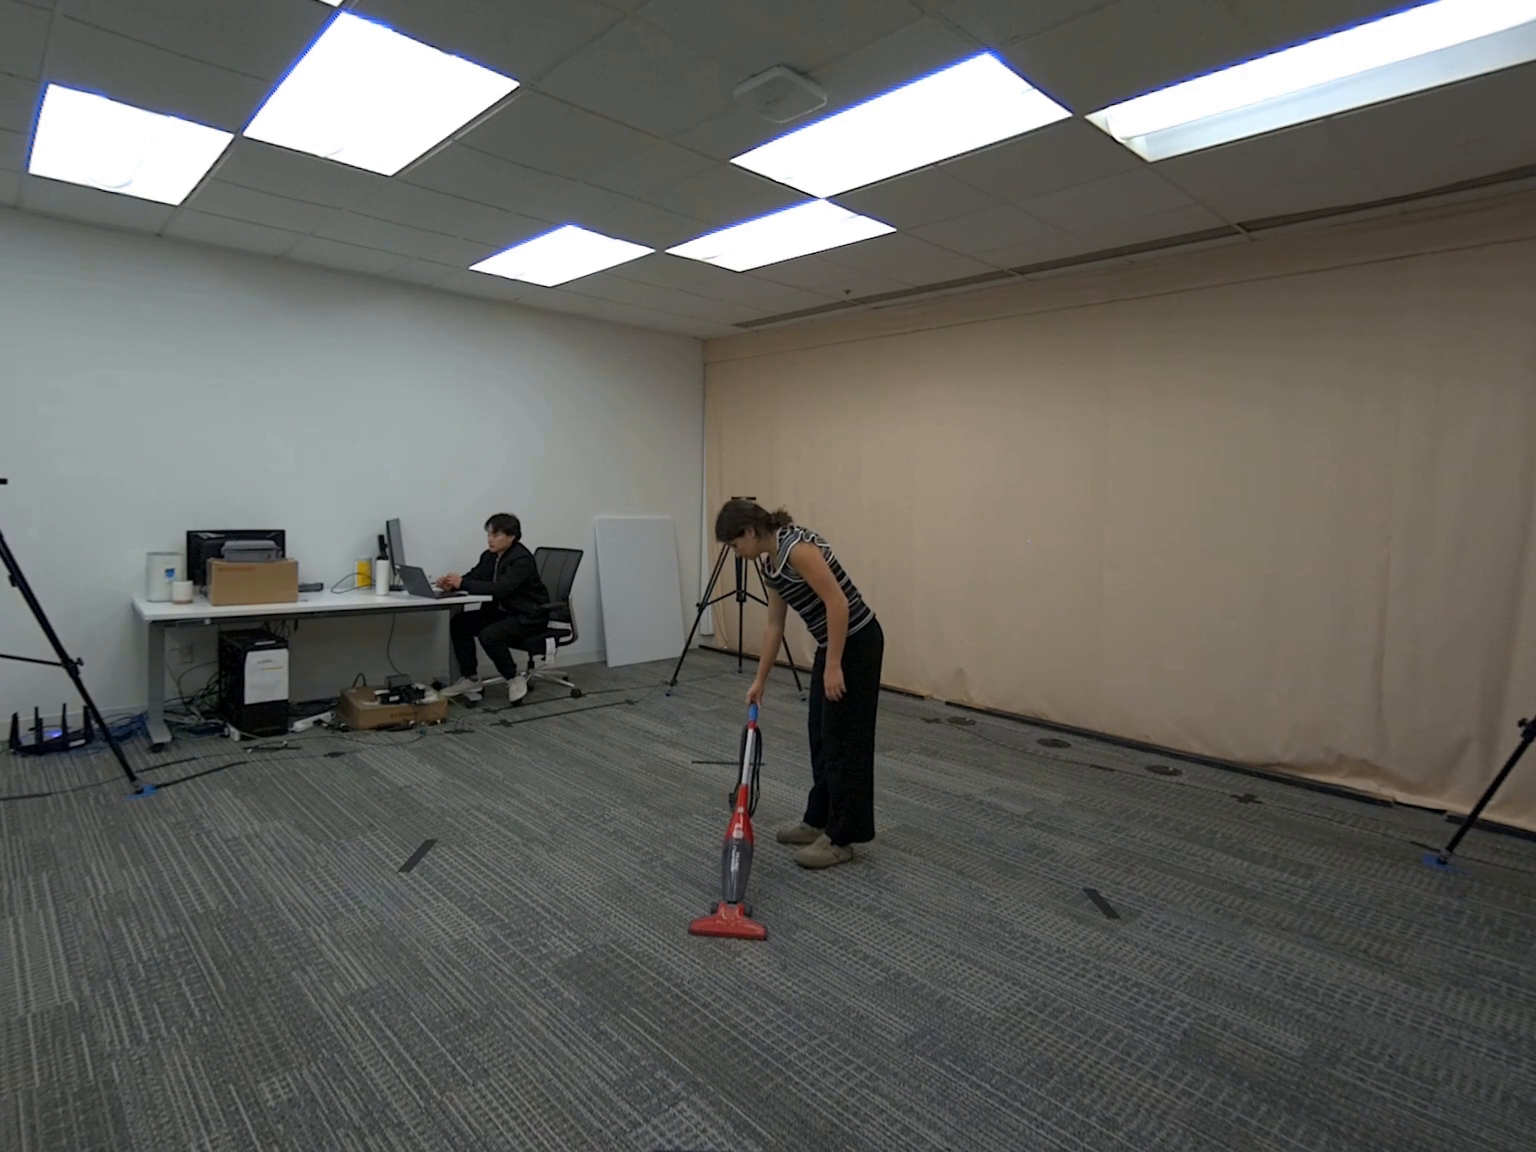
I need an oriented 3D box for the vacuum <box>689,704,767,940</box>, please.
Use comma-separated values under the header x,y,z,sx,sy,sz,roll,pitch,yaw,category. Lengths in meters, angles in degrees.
x,y,z,sx,sy,sz,roll,pitch,yaw,category
-0.089,0.829,3.162,0.254,0.140,1.067,-5,33,8,vacuum
